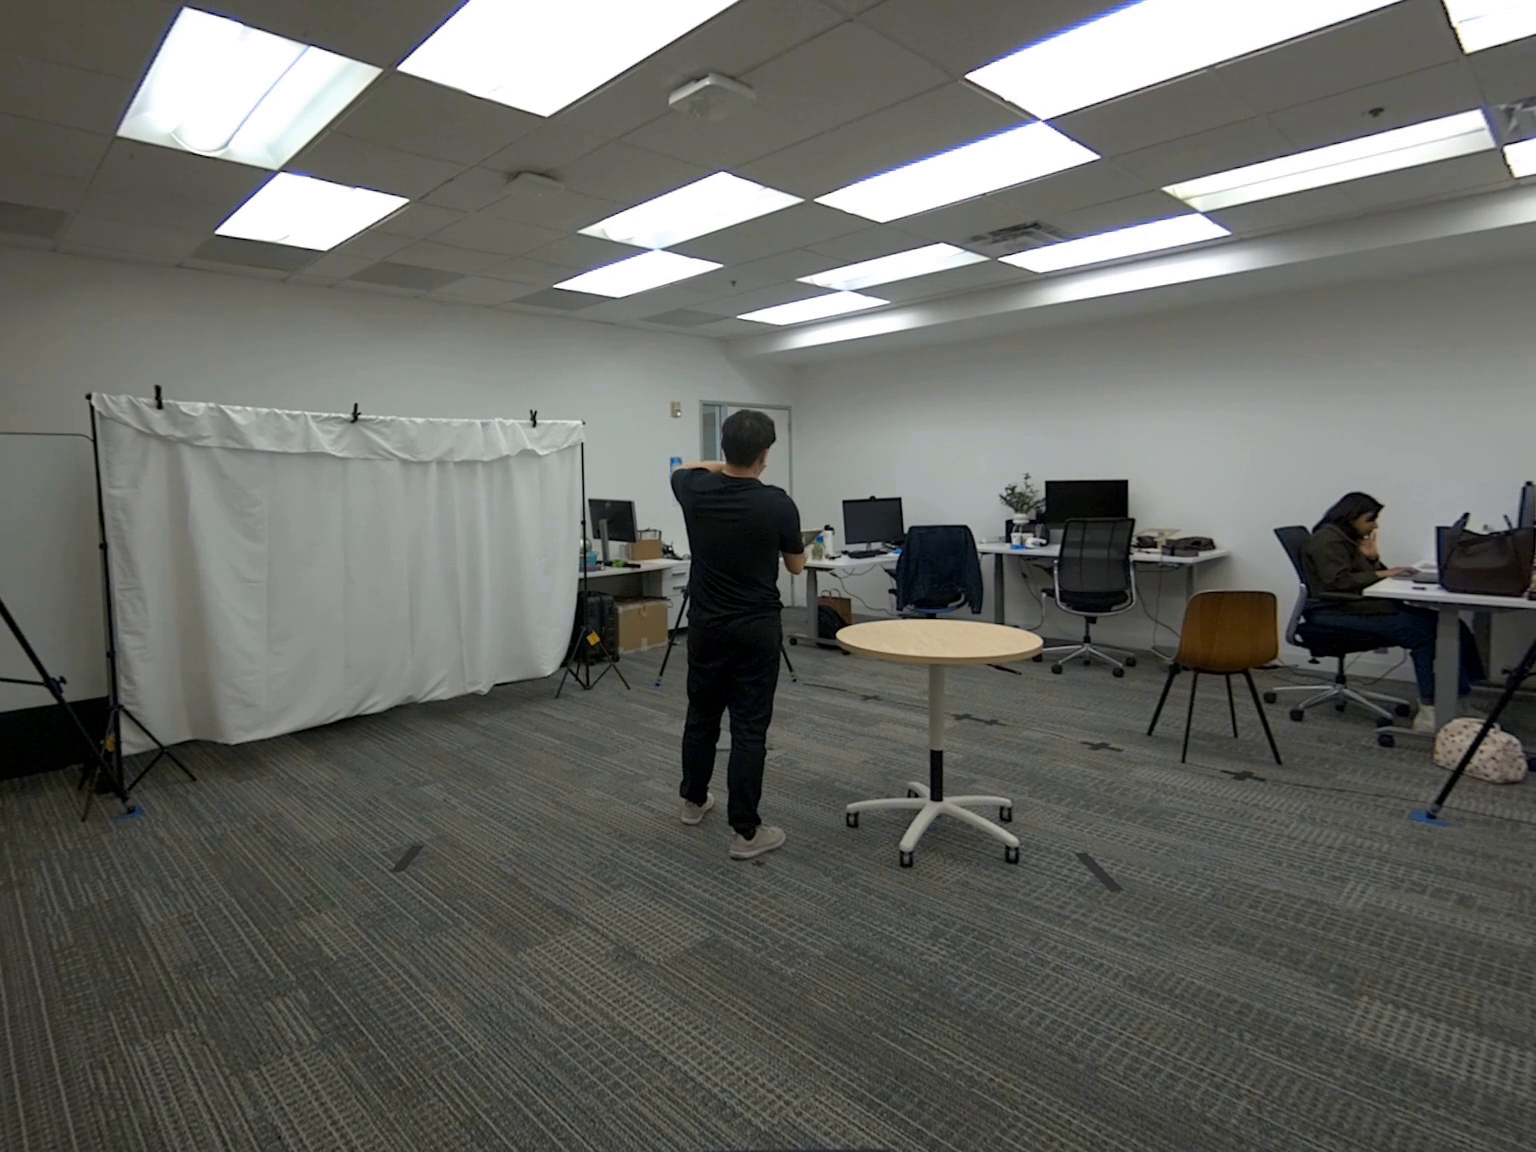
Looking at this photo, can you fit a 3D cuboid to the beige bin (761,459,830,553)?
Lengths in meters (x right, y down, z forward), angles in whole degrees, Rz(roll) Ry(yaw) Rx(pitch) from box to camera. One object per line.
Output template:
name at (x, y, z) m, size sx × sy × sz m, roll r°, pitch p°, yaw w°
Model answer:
beige bin at (0.007, -0.299, 3.741) m, size 0.189 × 0.431 × 0.369 m, roll -43°, pitch -15°, yaw 19°
